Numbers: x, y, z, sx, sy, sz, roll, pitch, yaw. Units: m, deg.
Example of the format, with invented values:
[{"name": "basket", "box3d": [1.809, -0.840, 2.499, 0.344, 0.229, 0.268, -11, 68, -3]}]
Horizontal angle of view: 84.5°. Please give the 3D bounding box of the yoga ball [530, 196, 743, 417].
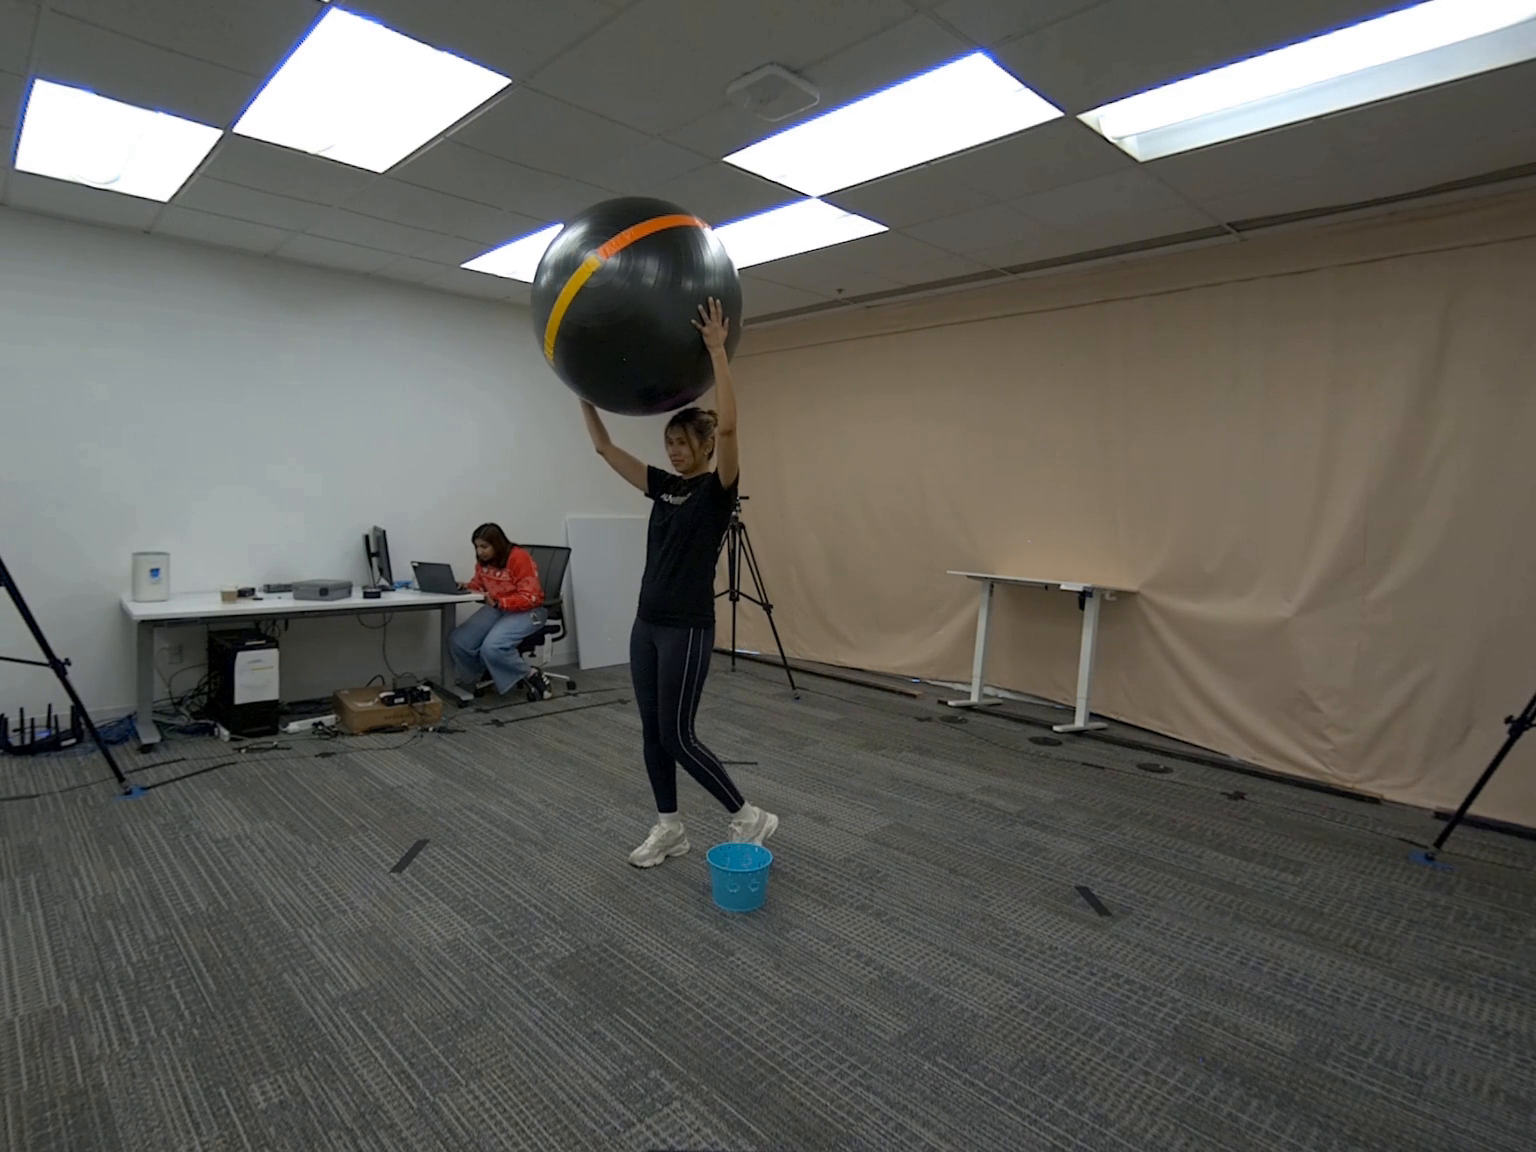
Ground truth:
[{"name": "yoga ball", "box3d": [-0.465, -0.952, 3.027, 0.757, 0.756, 0.761, 1, 4, -1]}]
